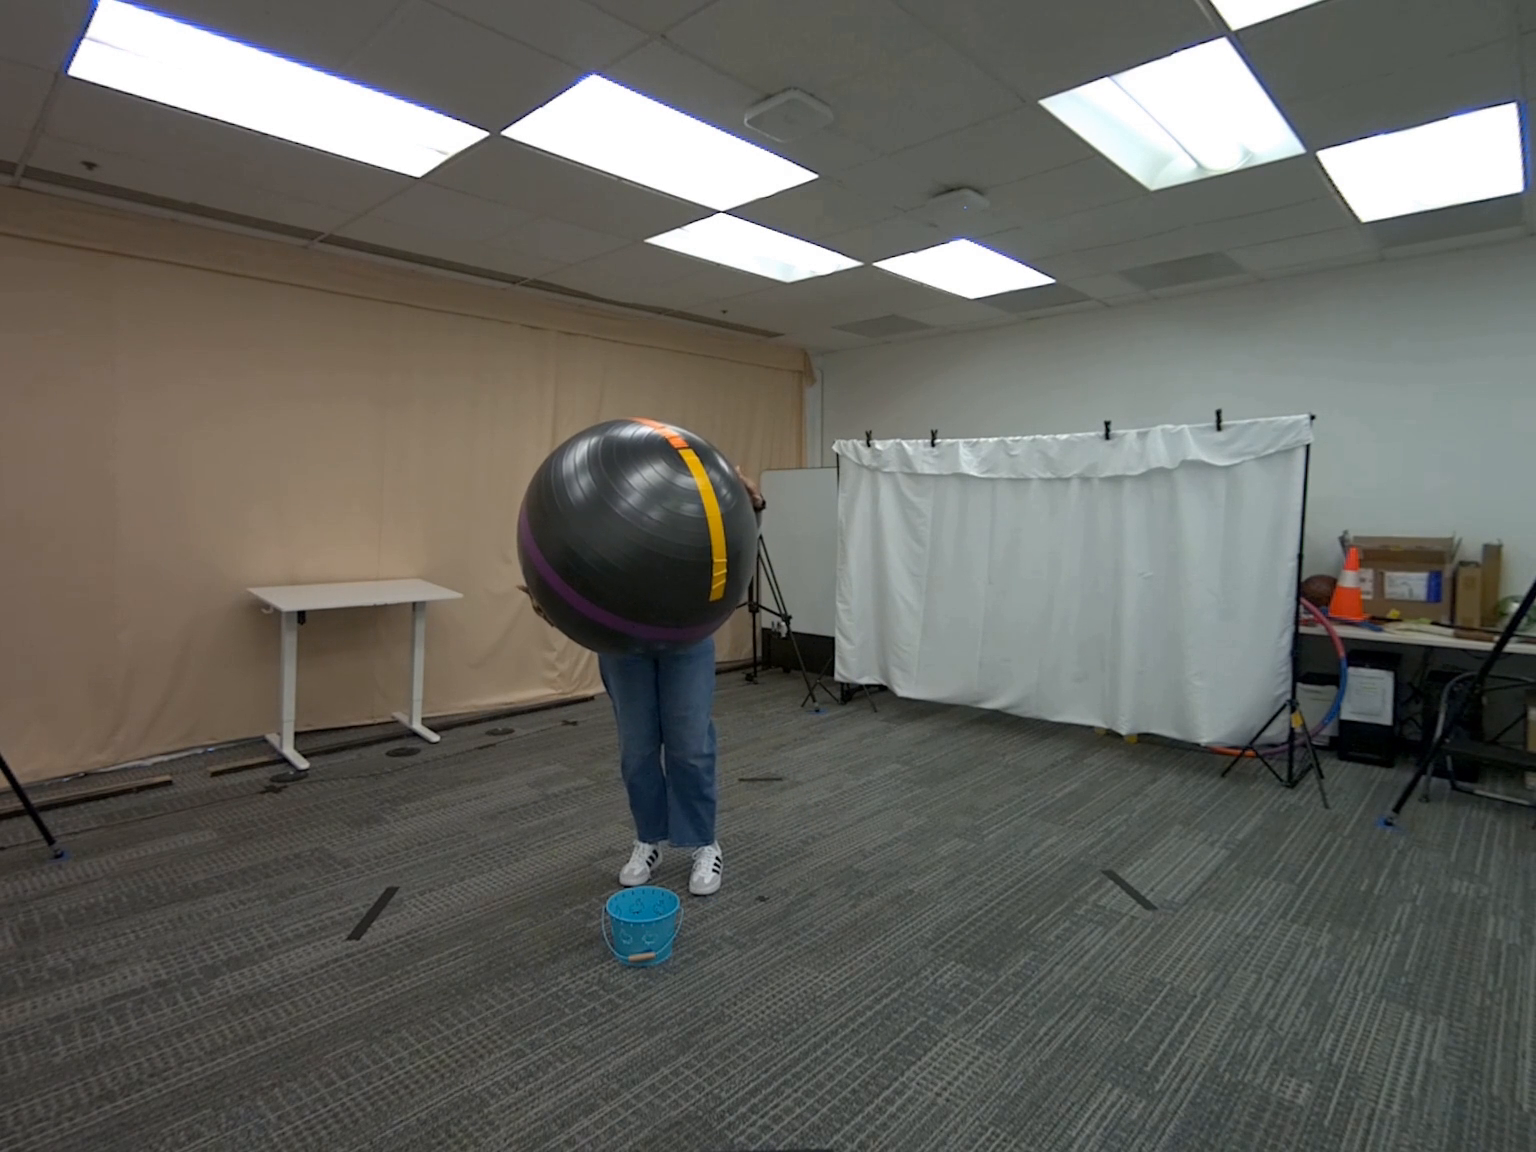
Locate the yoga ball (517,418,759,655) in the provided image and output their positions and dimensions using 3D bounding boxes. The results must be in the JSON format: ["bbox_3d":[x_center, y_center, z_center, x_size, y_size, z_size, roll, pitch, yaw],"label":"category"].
[{"bbox_3d":[-0.406,-0.117,2.653,0.757,0.756,0.761,0,4,-2],"label":"yoga ball"}]
